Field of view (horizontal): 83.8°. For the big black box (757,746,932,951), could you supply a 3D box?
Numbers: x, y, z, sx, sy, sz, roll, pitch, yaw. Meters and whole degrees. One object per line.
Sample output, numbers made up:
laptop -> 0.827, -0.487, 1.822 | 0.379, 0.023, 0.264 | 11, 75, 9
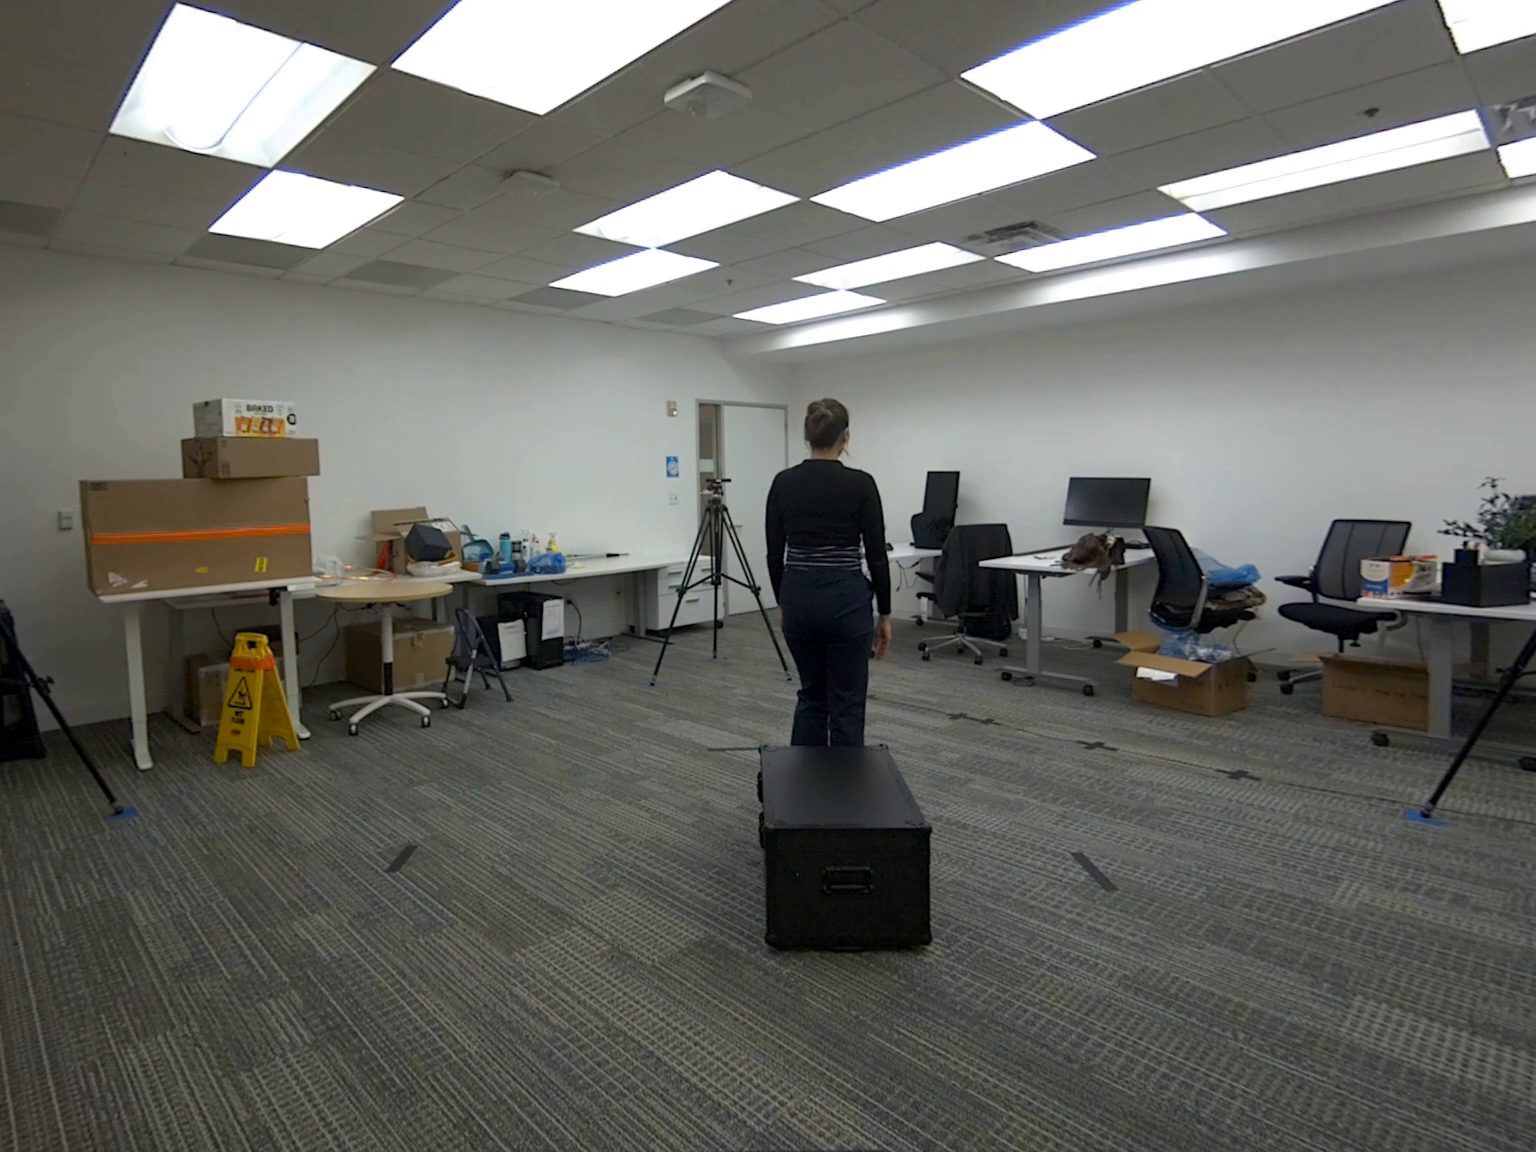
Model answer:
big black box -> 0.226, 0.871, 2.910 | 0.521, 0.394, 0.865 | -1, 6, -1
